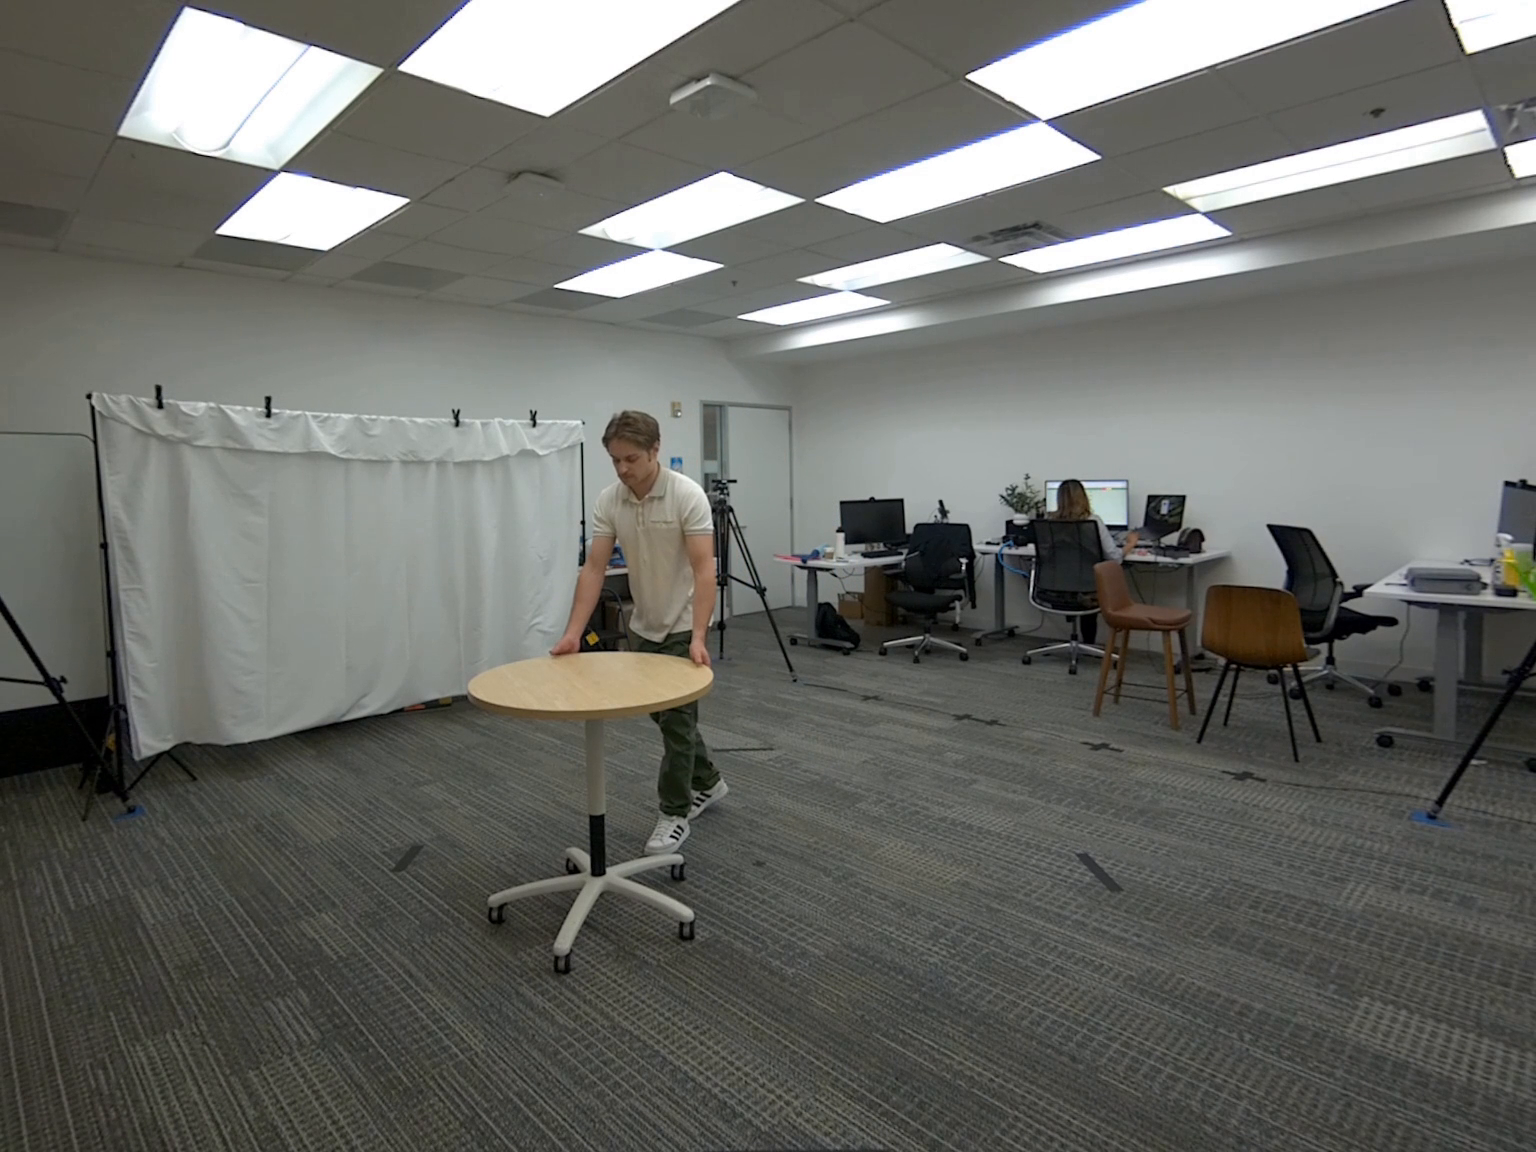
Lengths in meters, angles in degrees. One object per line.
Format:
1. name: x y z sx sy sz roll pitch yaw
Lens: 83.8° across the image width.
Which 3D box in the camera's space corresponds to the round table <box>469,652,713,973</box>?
1. round table: -0.550 0.706 2.751 0.784 0.783 0.790 -1 6 -2
